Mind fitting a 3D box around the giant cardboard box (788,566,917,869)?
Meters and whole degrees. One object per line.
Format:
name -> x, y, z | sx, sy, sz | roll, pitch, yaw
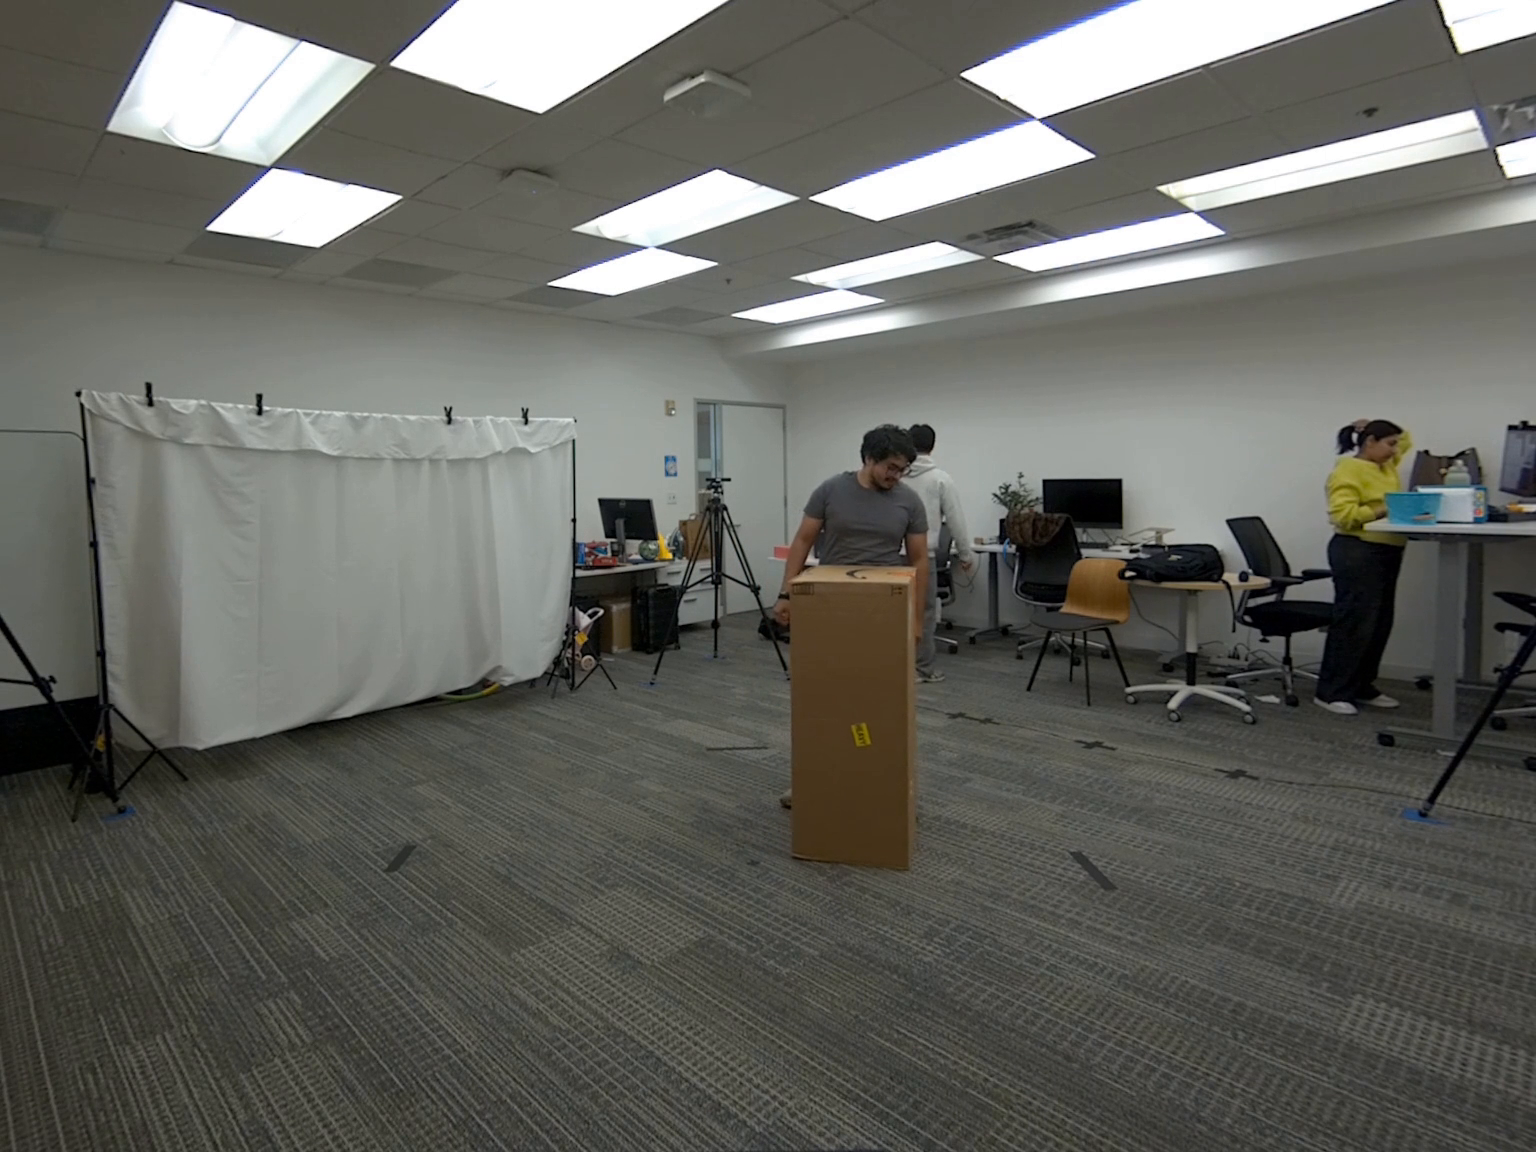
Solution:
giant cardboard box -> 0.349, 0.506, 3.314 | 0.453, 1.024, 0.578 | -1, 4, 14
